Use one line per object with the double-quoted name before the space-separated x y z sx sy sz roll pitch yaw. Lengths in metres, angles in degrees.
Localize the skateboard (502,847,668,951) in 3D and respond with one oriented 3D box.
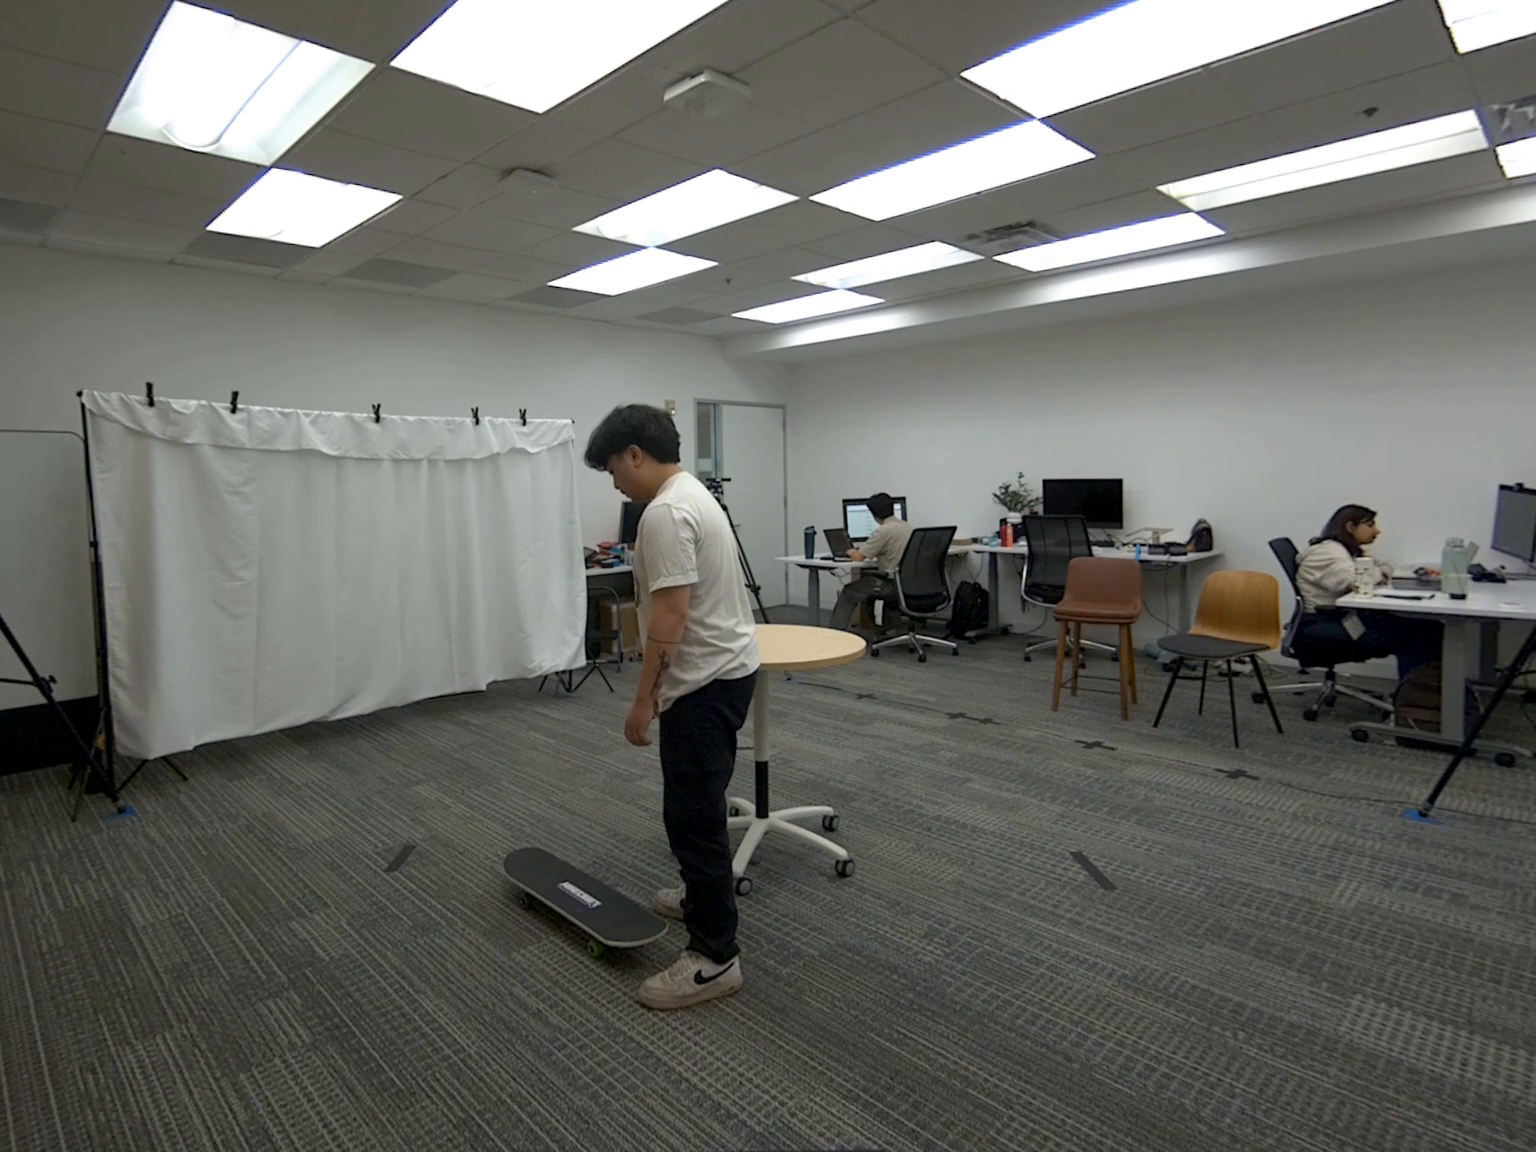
"skateboard" -0.598 1.053 2.702 0.188 0.110 0.810 -8 9 -44
